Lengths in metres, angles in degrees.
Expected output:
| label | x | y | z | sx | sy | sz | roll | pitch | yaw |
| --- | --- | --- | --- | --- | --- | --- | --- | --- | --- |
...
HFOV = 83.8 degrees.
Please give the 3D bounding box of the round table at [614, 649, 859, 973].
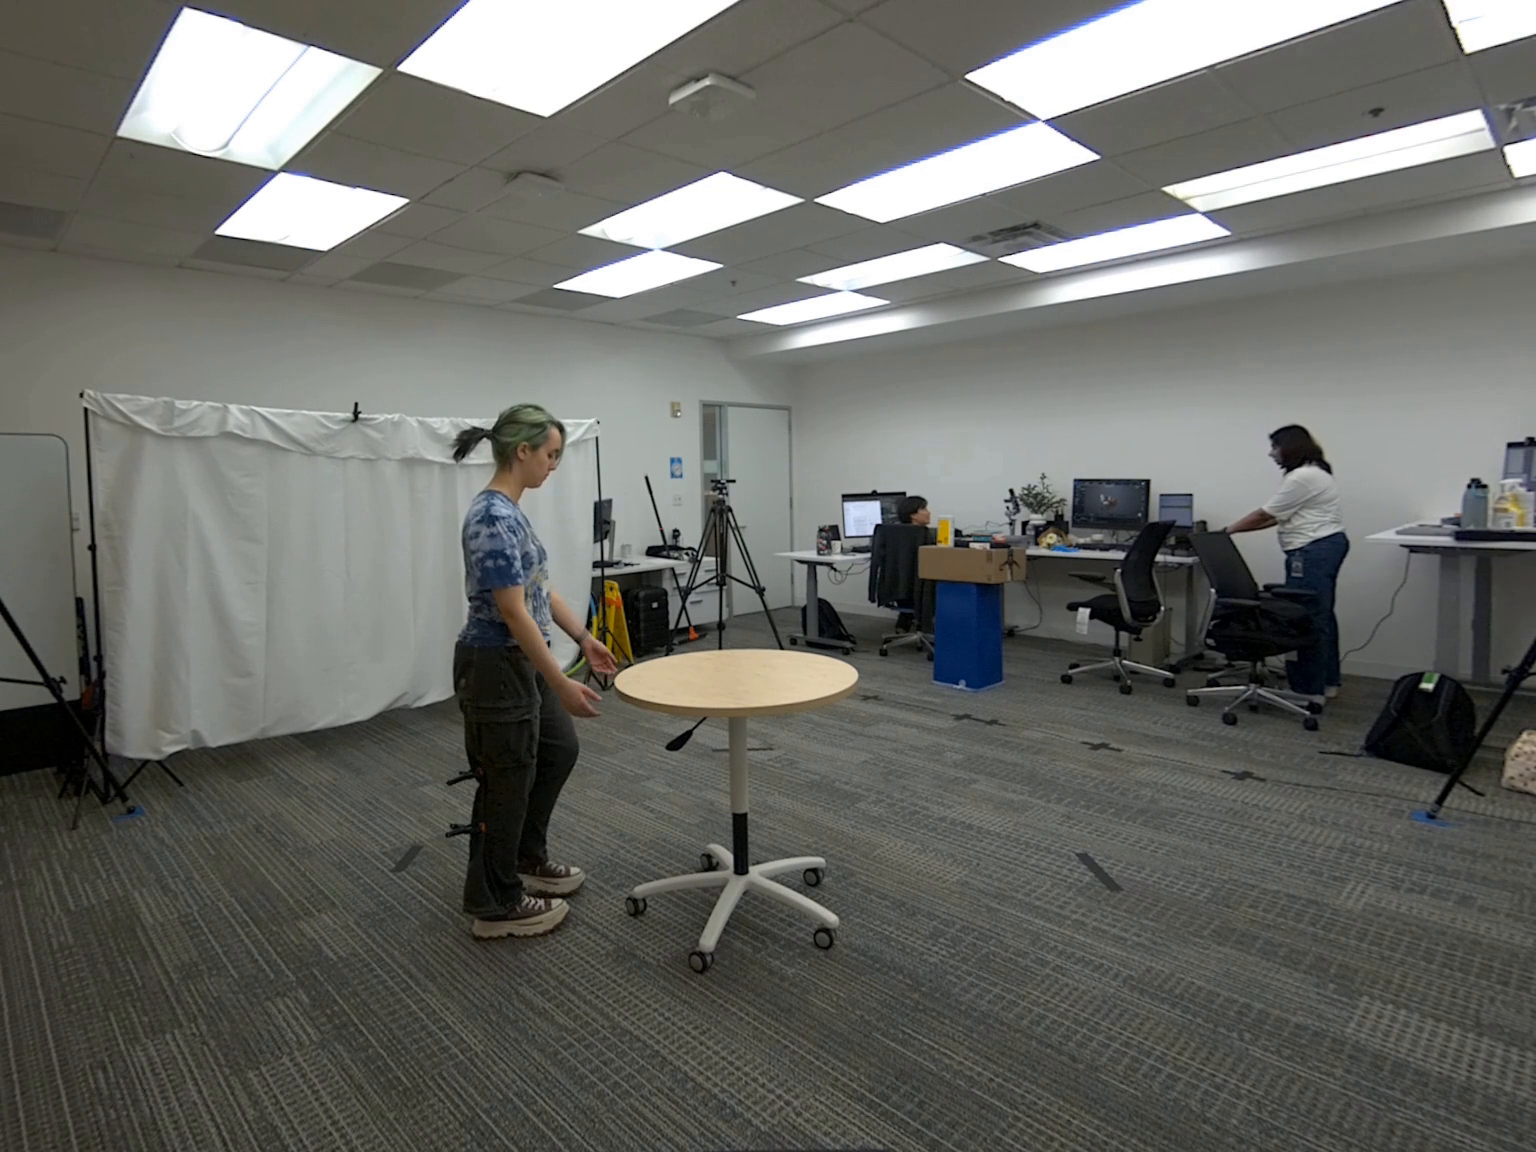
| label | x | y | z | sx | sy | sz | roll | pitch | yaw |
| --- | --- | --- | --- | --- | --- | --- | --- | --- | --- |
| round table | -0.091 | 0.701 | 2.734 | 0.763 | 0.791 | 0.768 | -2 | 5 | -2 |
